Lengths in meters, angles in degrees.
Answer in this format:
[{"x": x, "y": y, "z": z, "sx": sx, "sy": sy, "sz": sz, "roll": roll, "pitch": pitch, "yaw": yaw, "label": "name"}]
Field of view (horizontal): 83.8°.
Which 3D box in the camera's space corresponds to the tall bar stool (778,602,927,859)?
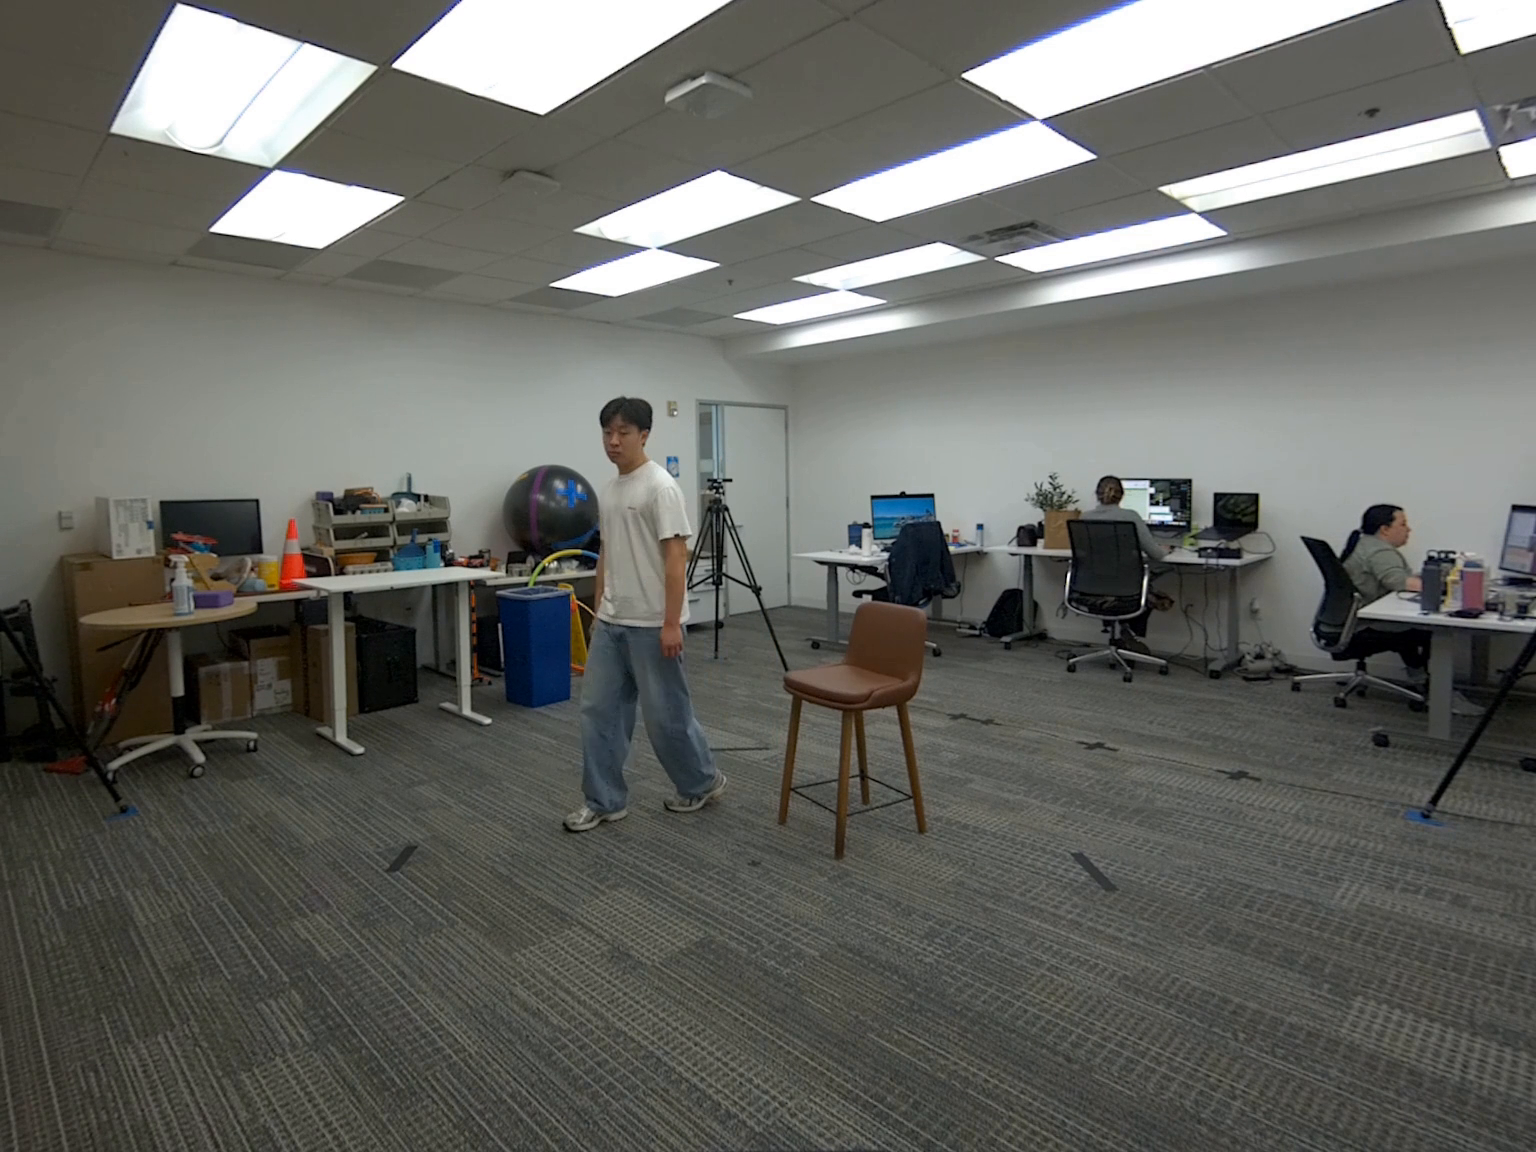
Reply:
[{"x": 0.338, "y": 0.571, "z": 3.385, "sx": 0.456, "sy": 0.887, "sz": 0.469, "roll": -1, "pitch": 3, "yaw": -32, "label": "tall bar stool"}]
